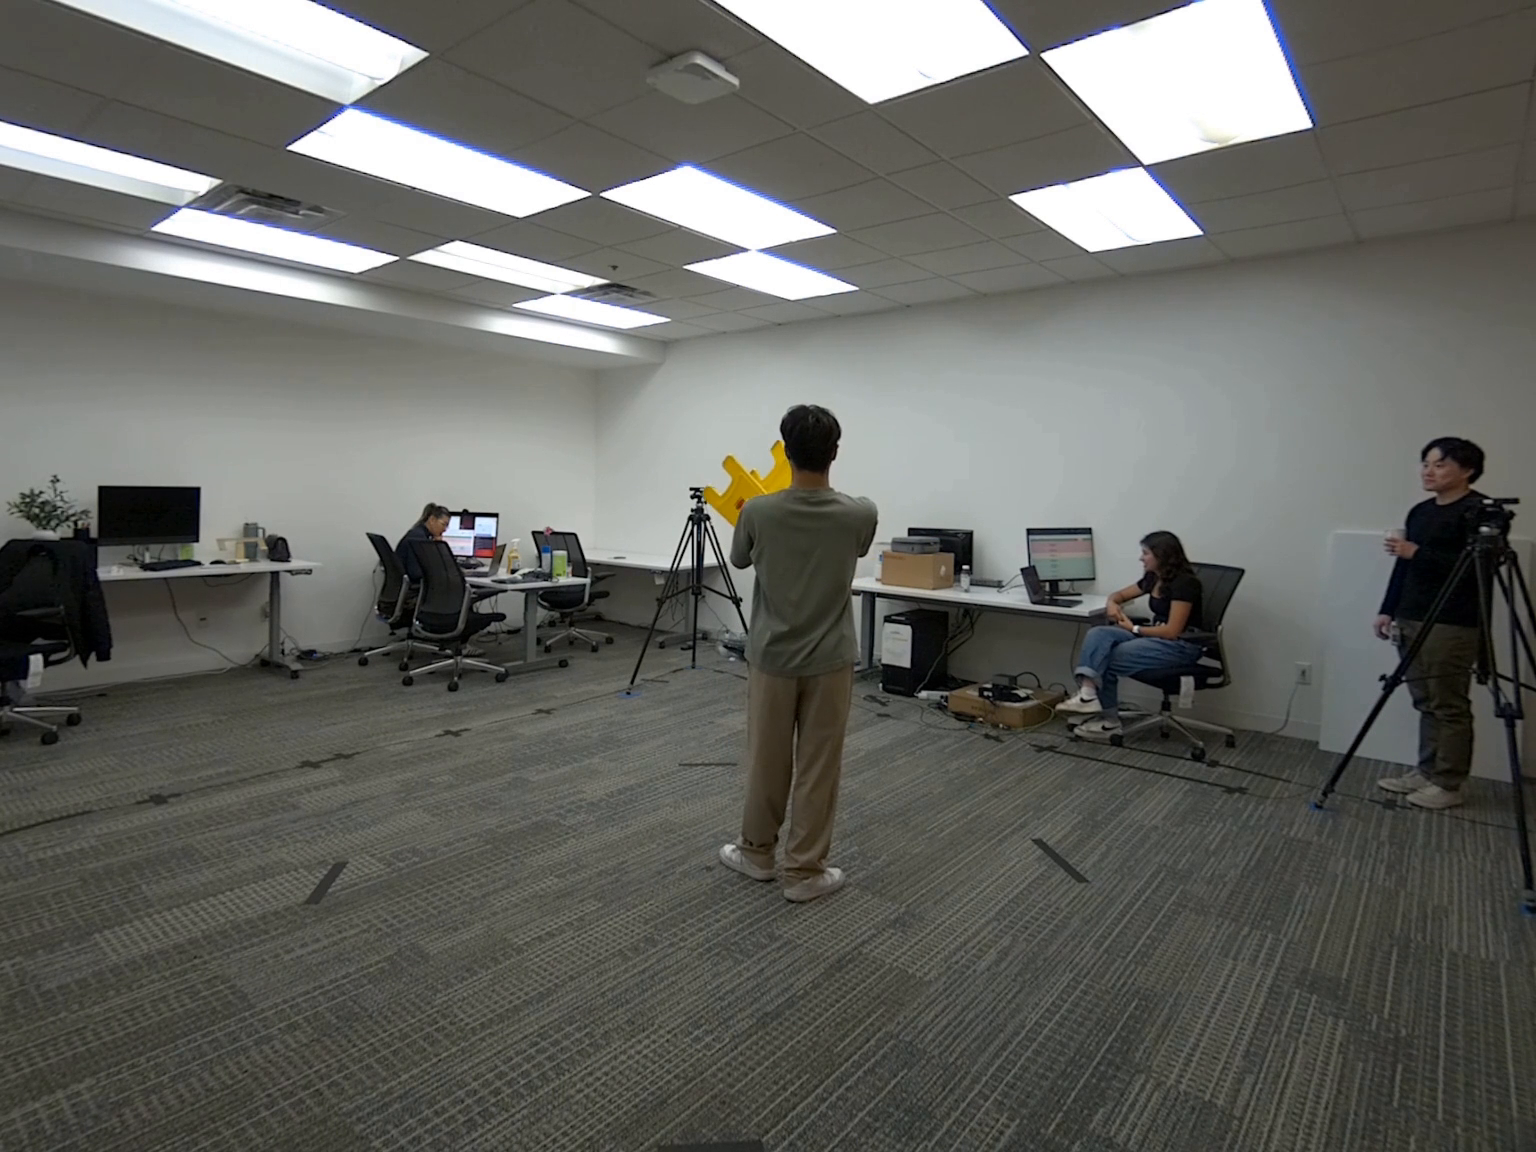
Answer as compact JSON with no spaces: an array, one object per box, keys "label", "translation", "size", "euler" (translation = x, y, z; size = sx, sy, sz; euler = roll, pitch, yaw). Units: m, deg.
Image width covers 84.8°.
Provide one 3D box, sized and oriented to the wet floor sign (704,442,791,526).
[{"label":"wet floor sign","translation":[0.046,-0.198,3.448],"size":[0.284,0.661,0.281],"euler":[-21,-21,-39]}]
